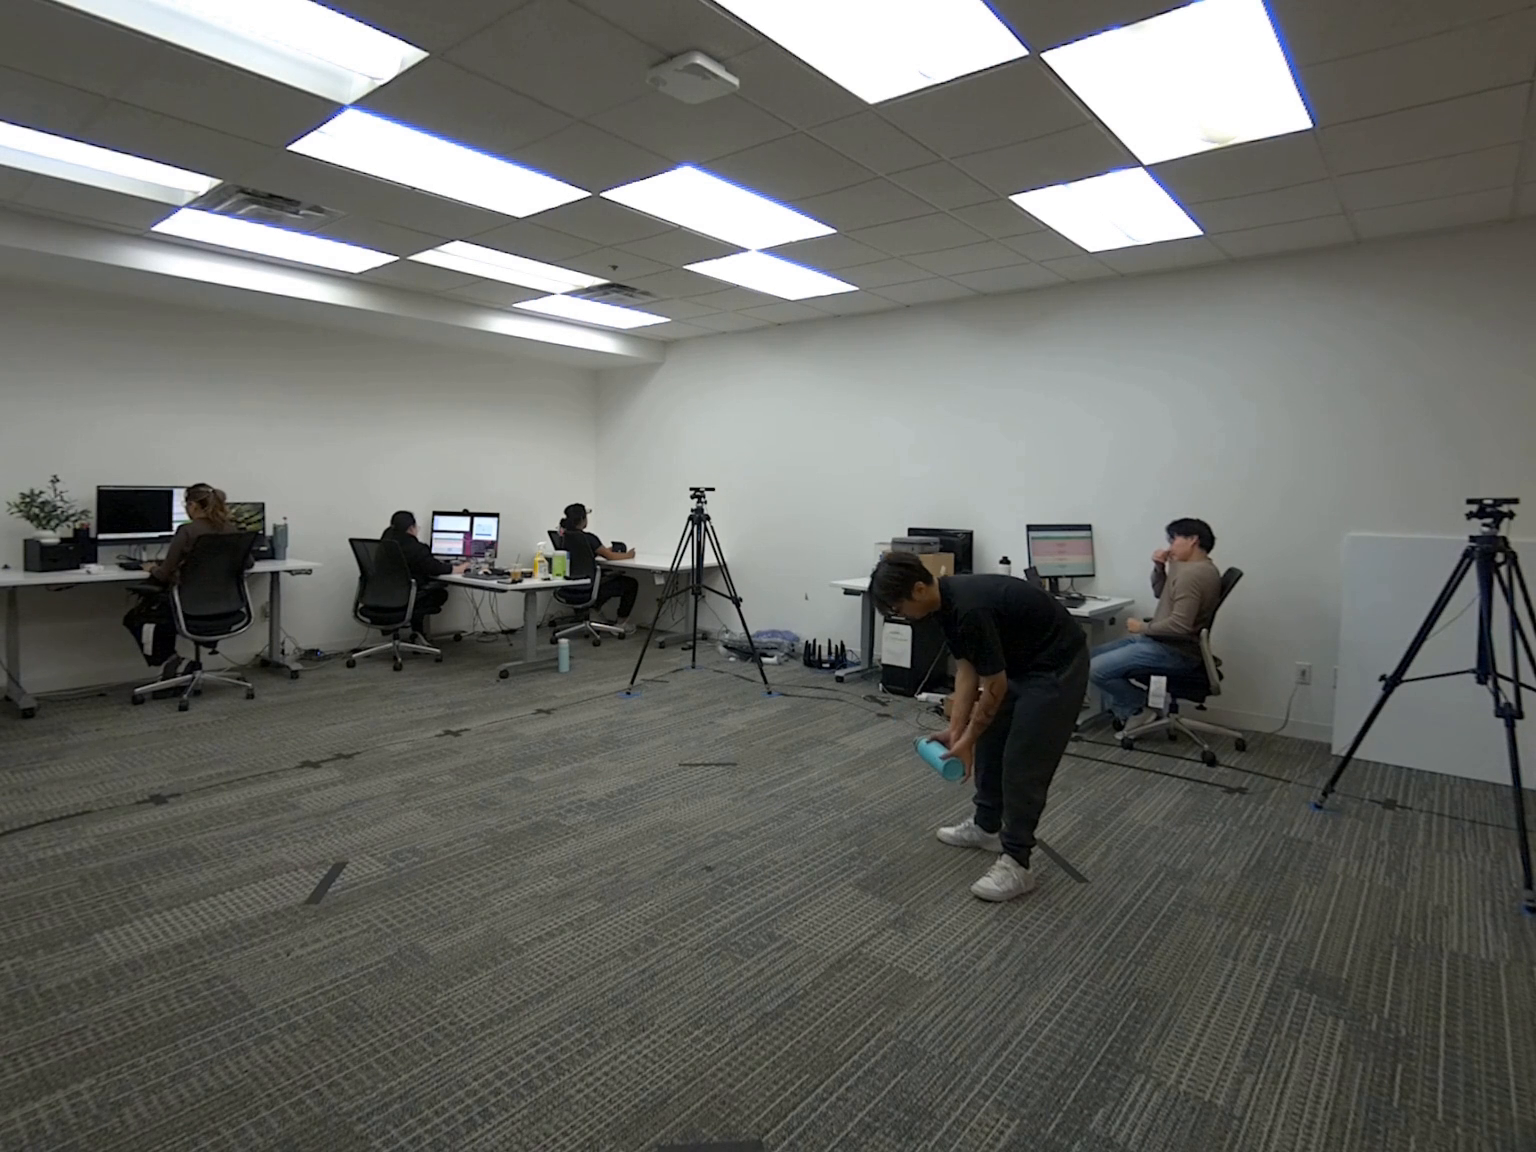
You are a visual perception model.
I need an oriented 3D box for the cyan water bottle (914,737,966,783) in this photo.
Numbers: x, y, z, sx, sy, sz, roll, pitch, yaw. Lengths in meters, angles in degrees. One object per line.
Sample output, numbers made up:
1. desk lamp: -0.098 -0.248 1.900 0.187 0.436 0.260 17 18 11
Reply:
1. cyan water bottle: 0.622 0.679 3.182 0.091 0.092 0.289 0 8 -13
